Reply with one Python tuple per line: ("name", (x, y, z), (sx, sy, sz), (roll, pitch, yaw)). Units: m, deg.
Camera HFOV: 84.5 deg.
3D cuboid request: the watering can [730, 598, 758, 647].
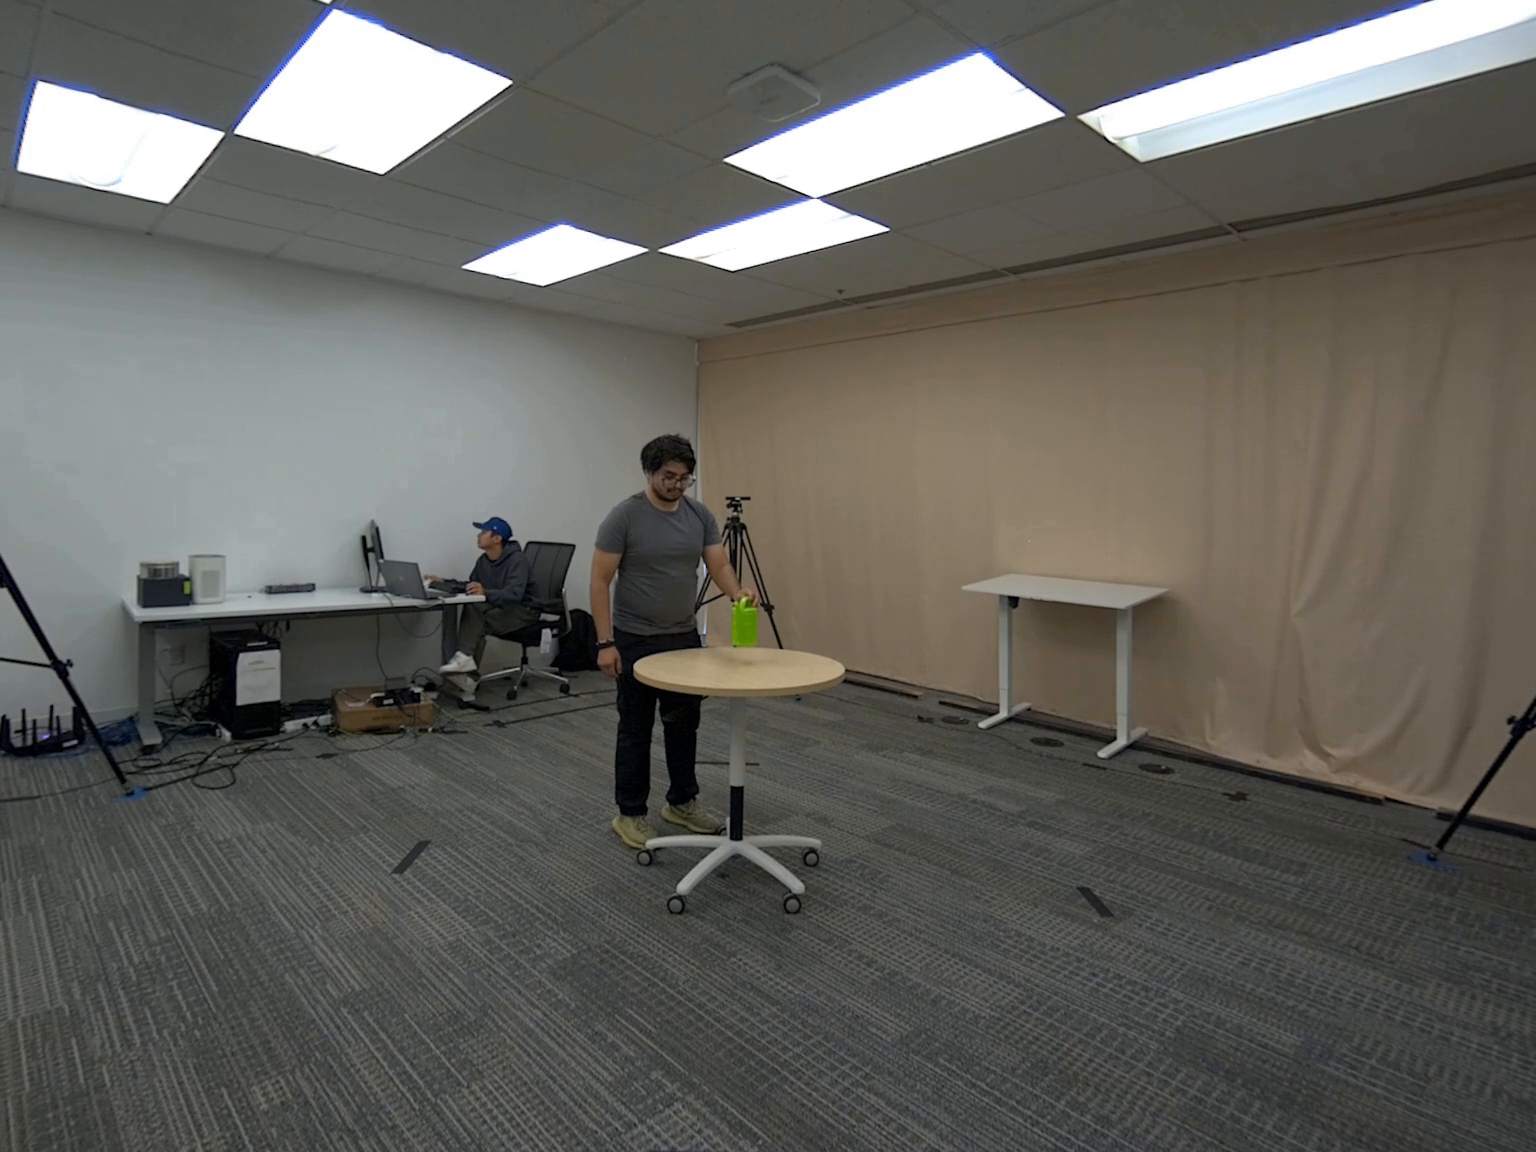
("watering can", (-0.111, 0.170, 3.064), (0.100, 0.176, 0.273), (3, 4, 26))
